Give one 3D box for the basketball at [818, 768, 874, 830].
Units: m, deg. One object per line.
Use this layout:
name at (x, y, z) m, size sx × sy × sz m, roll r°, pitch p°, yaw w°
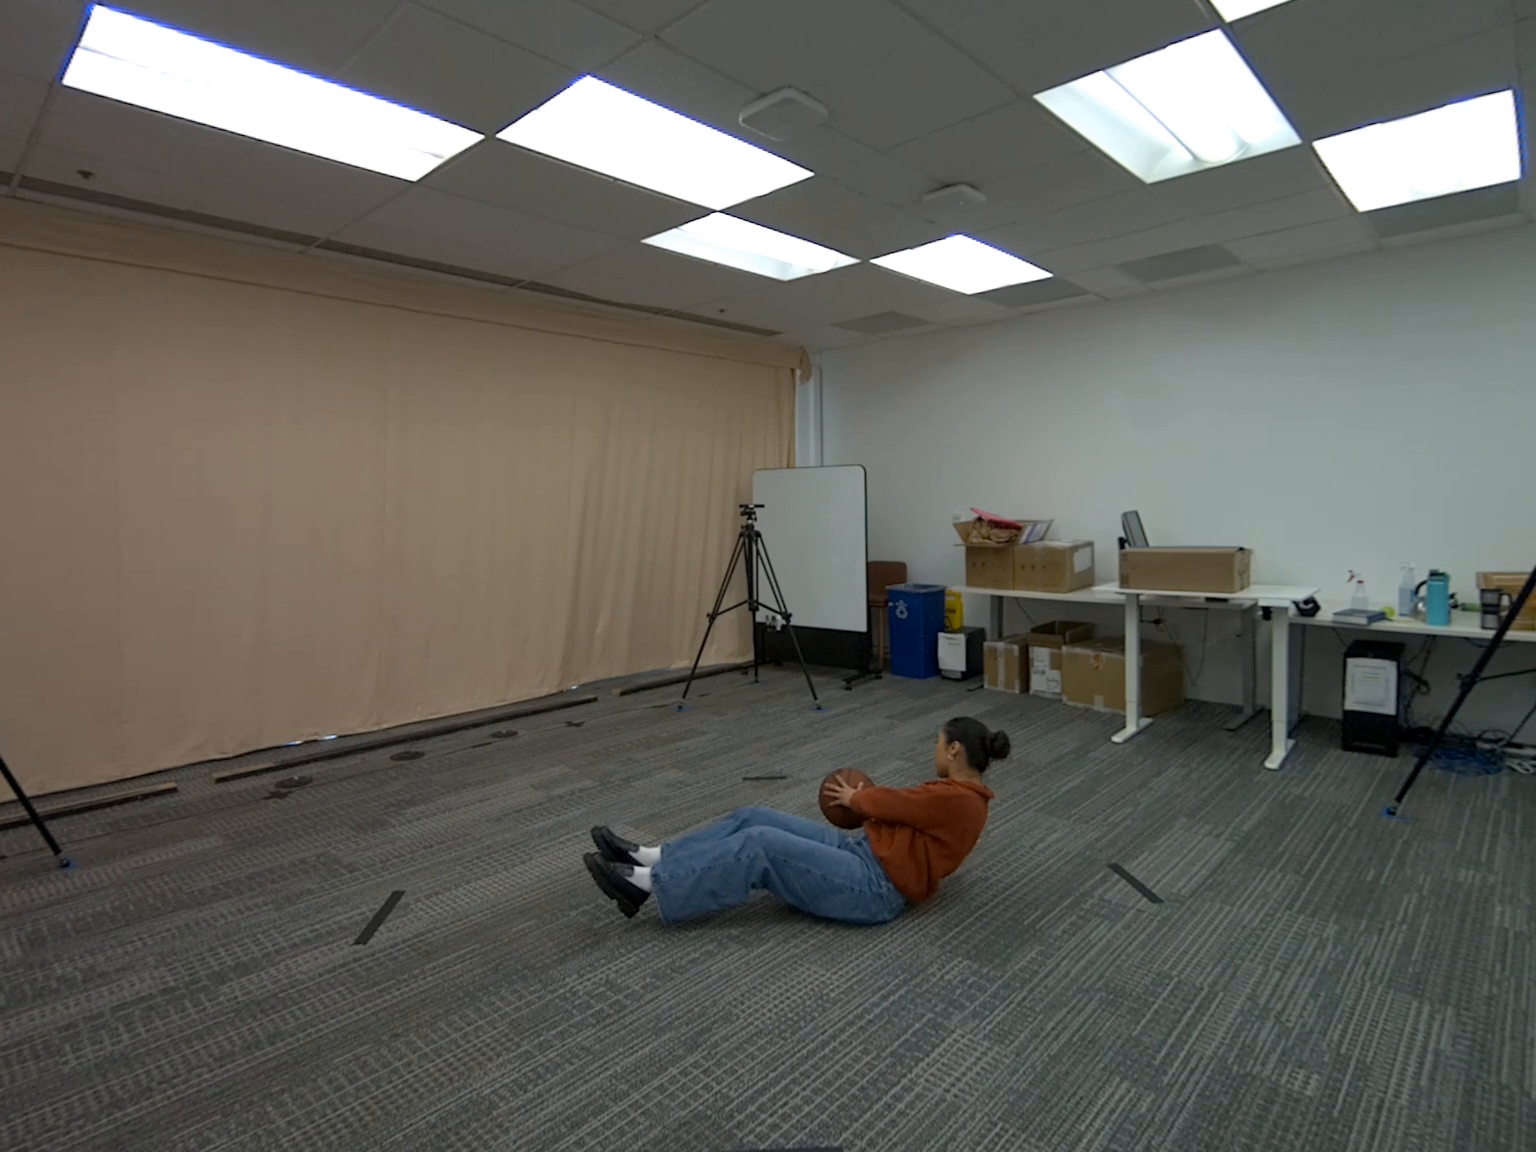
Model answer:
basketball at (0.318, 0.872, 3.346) m, size 0.236 × 0.235 × 0.237 m, roll -1°, pitch 4°, yaw -2°
